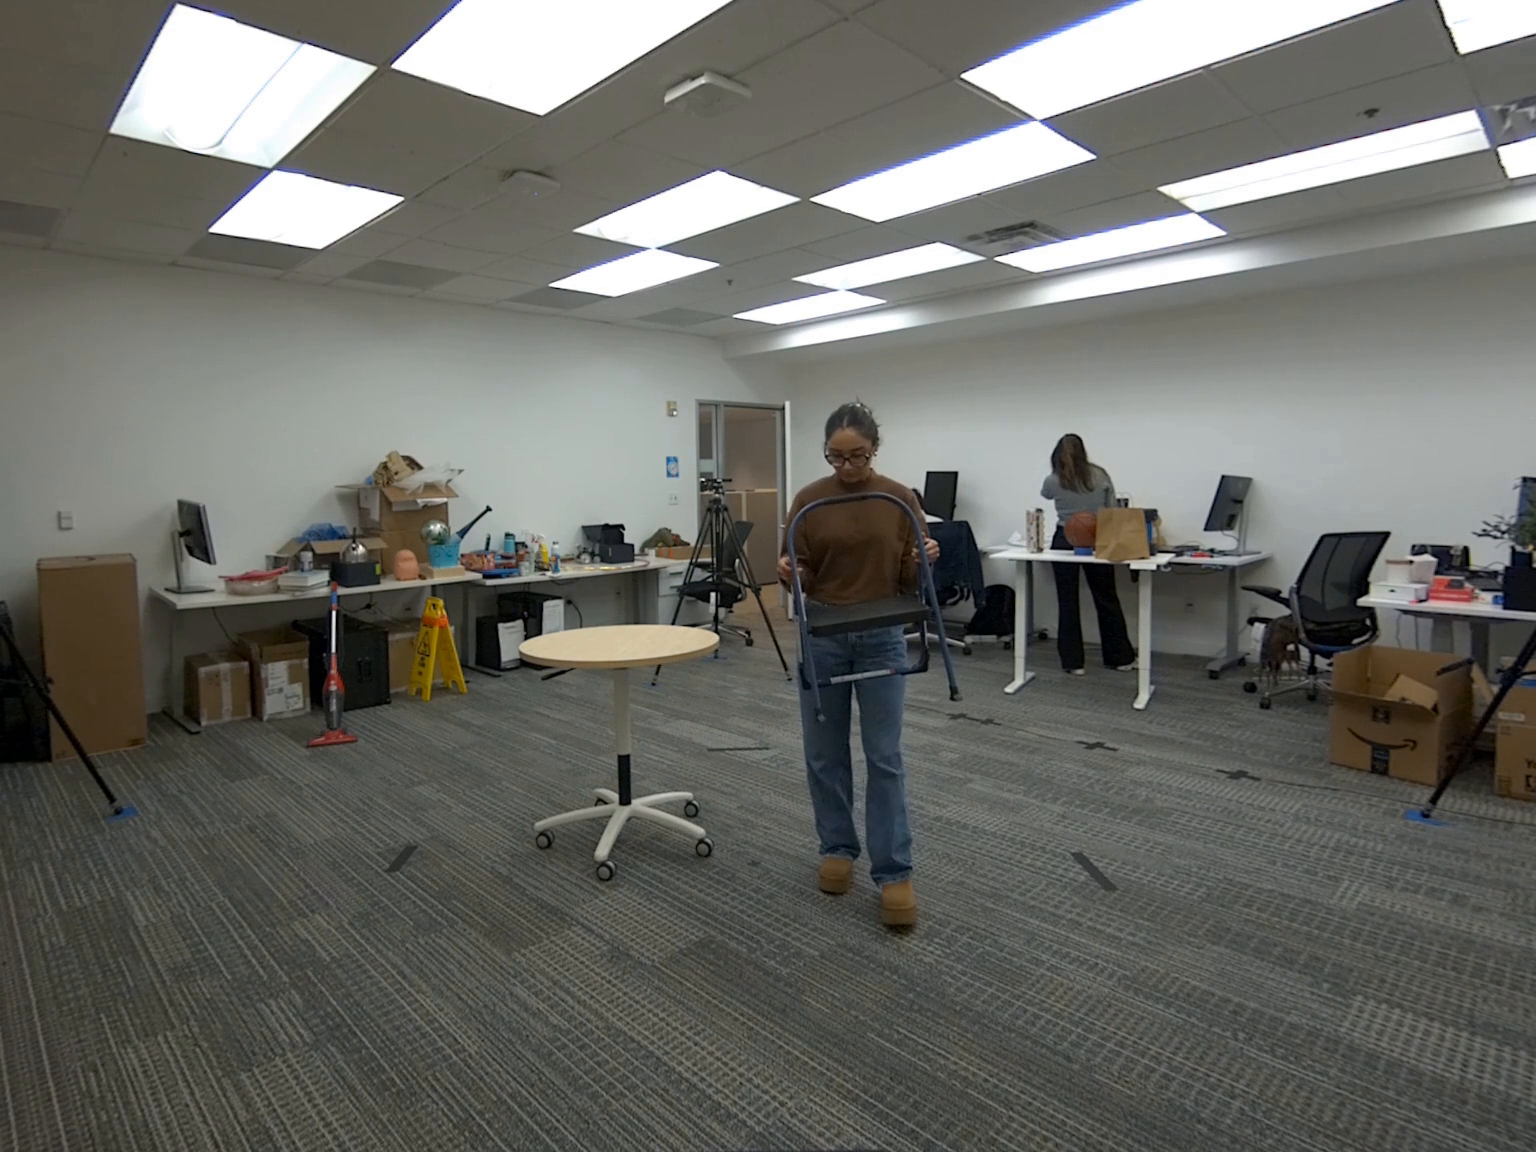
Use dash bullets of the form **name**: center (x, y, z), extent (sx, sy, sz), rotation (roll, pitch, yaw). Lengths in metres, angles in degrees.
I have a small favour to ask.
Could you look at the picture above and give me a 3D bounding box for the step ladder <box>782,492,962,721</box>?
- **step ladder**: center (0.291, 0.066, 2.563), extent (0.429, 0.602, 0.353), rotation (-8, 6, -5)
